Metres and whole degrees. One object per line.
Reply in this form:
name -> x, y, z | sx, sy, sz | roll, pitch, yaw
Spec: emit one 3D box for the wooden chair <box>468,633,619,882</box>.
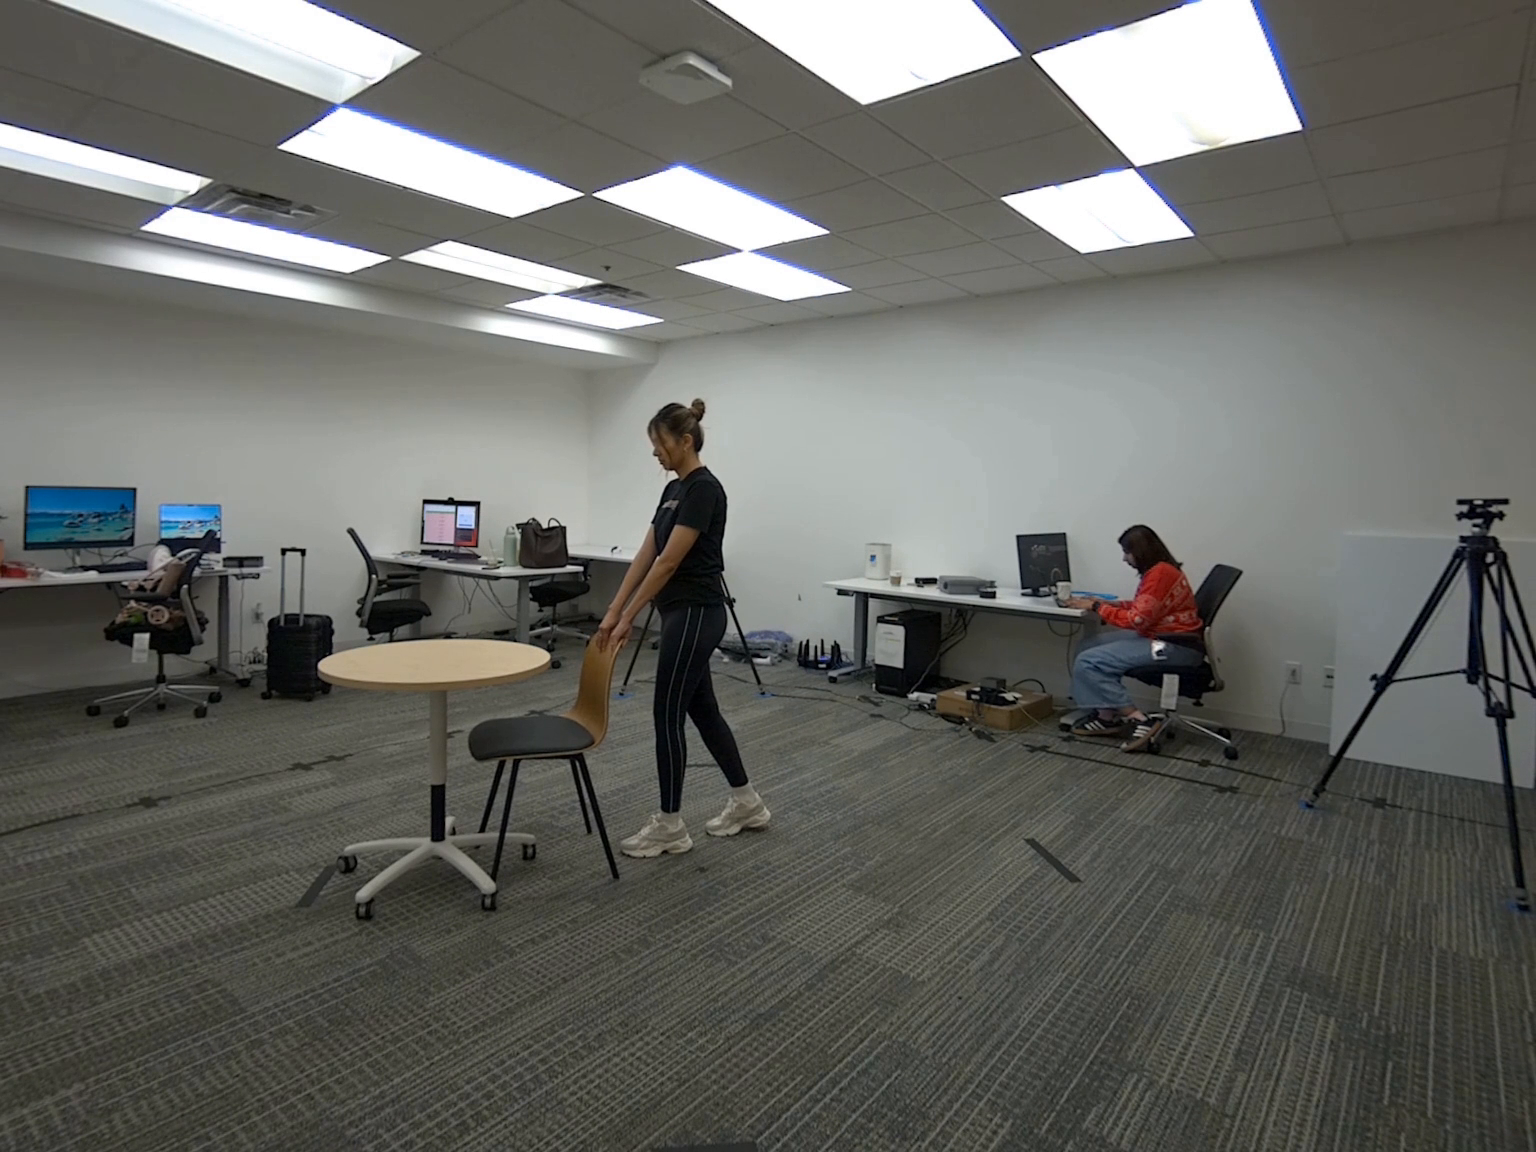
wooden chair -> -0.831, 0.631, 3.113 | 0.511, 0.876, 0.490 | 4, 2, -23
